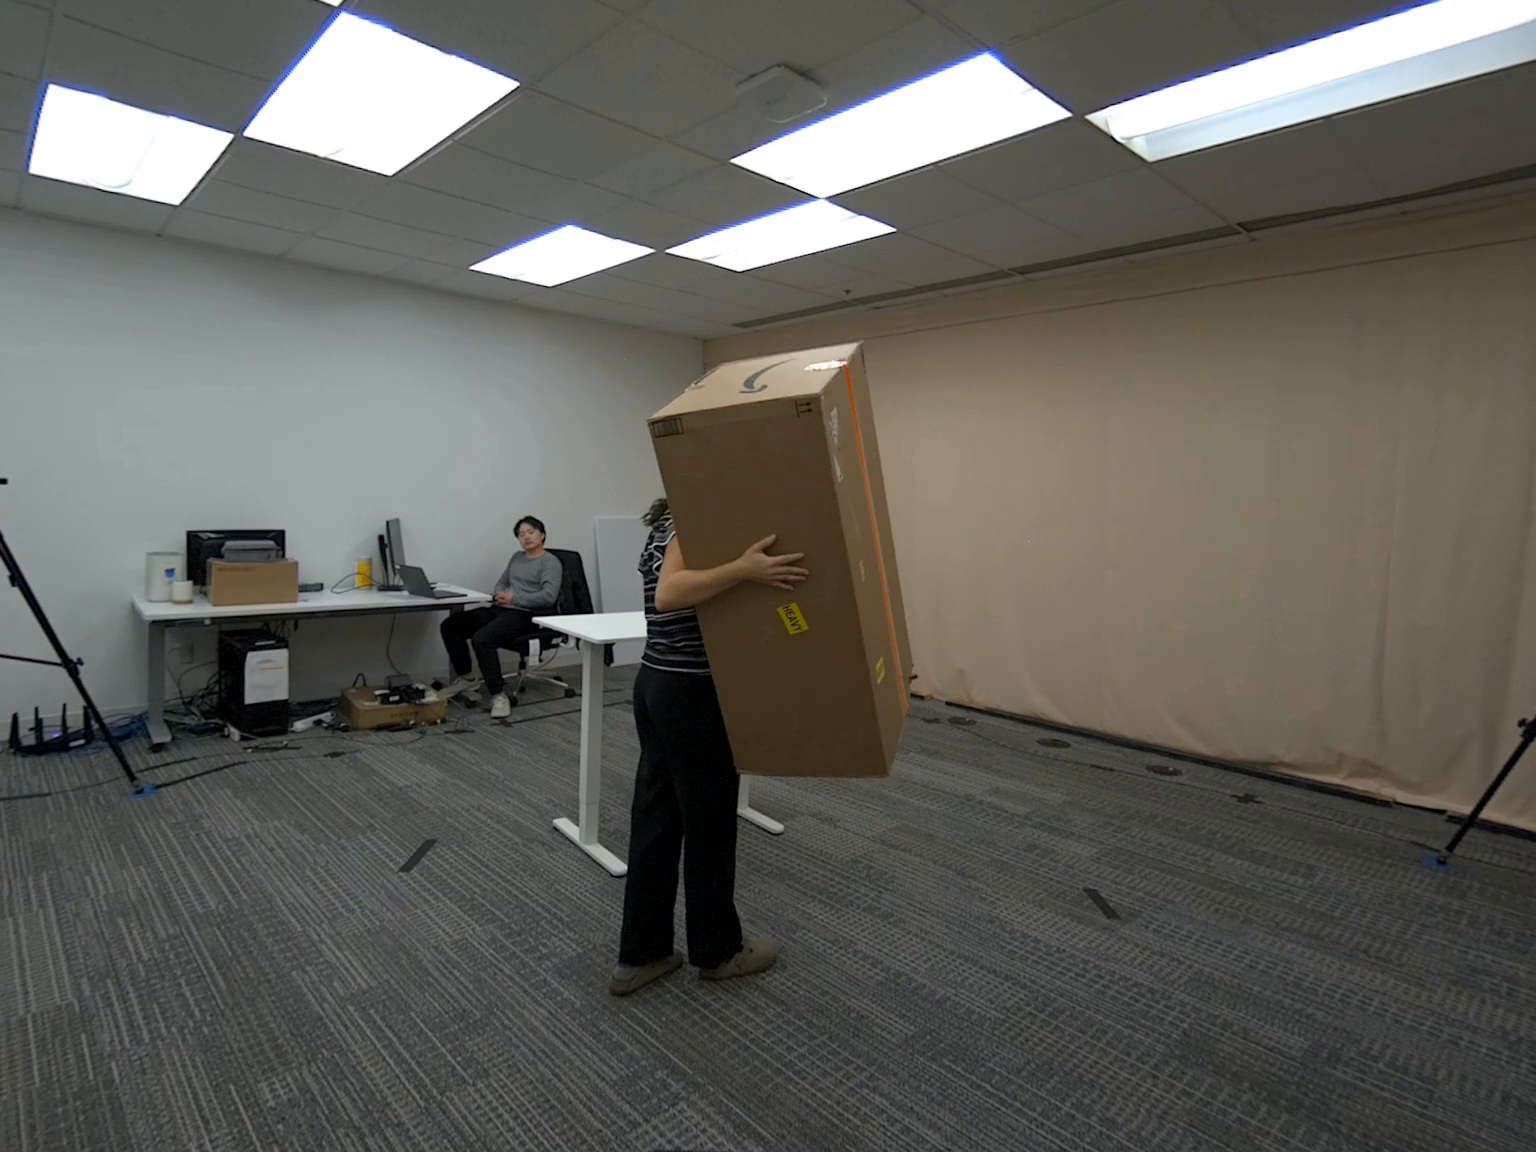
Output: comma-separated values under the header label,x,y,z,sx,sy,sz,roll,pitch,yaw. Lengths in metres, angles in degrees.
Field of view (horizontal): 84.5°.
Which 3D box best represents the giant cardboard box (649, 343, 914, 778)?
label,x,y,z,sx,sy,sz,roll,pitch,yaw
giant cardboard box,0.089,-0.047,2.305,0.432,1.008,0.579,-4,23,21
